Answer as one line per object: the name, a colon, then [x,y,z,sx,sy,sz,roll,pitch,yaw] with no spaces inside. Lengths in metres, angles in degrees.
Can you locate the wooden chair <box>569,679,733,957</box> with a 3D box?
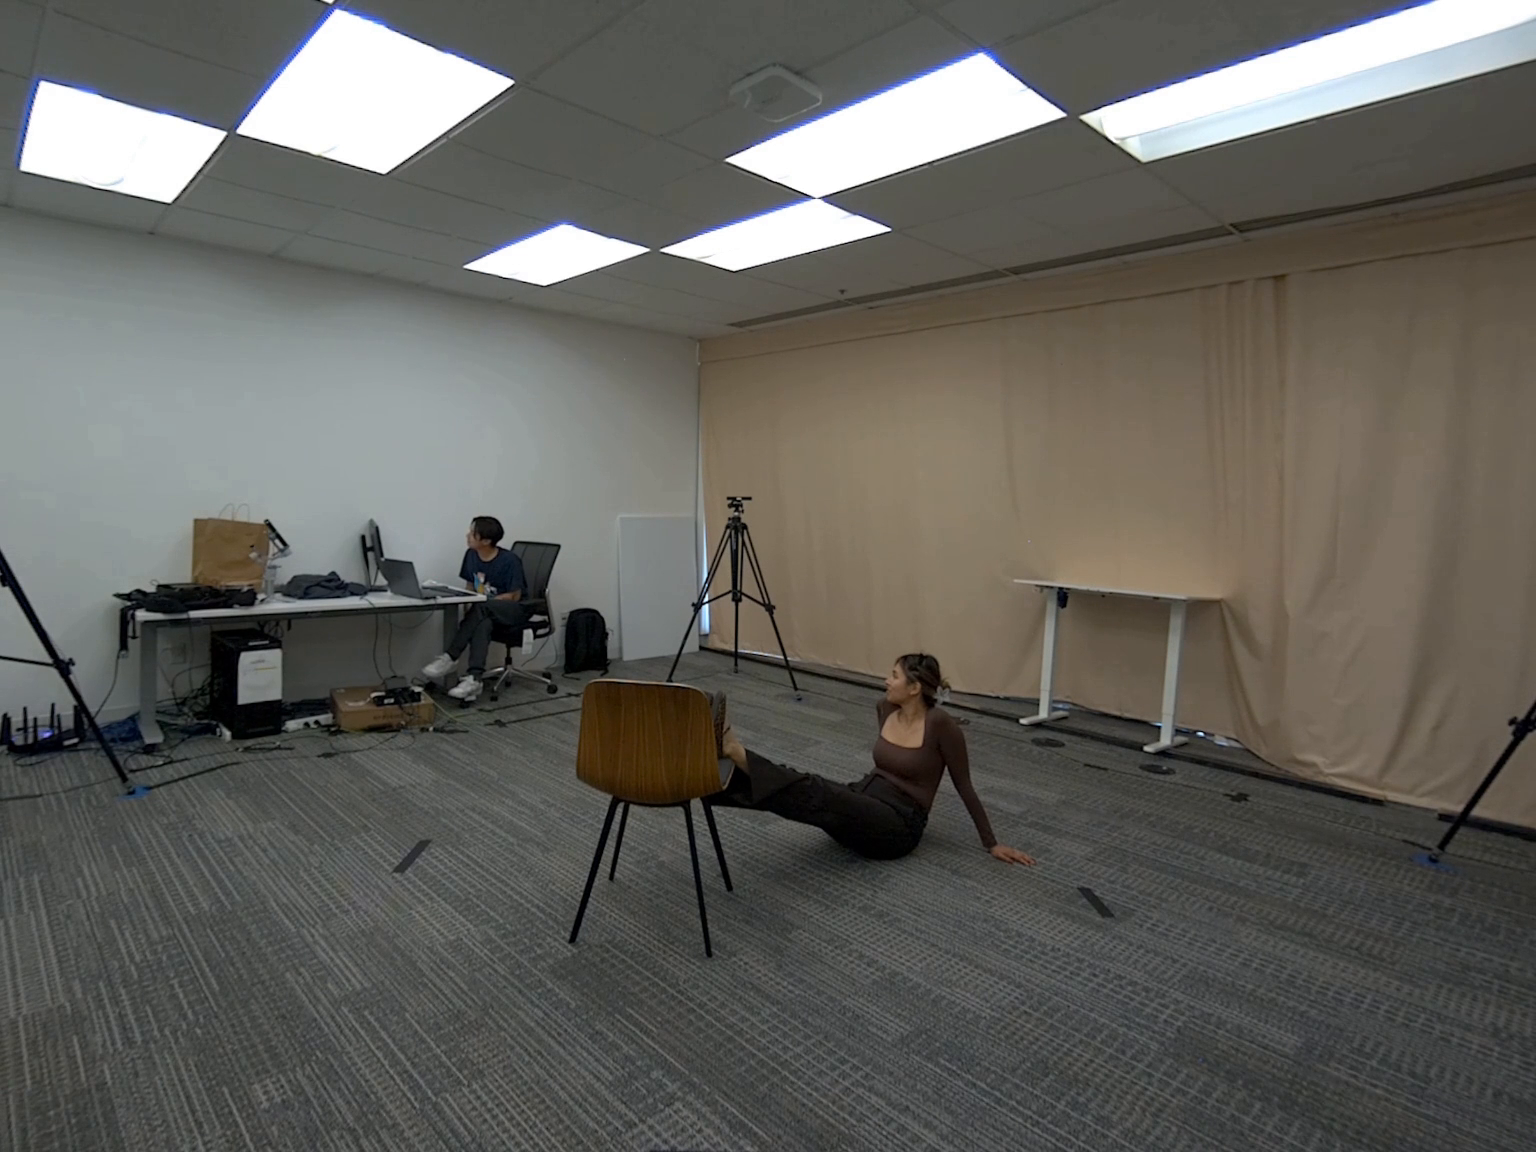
wooden chair: [-0.365,0.705,2.771,0.481,0.873,0.522,2,7,7]
